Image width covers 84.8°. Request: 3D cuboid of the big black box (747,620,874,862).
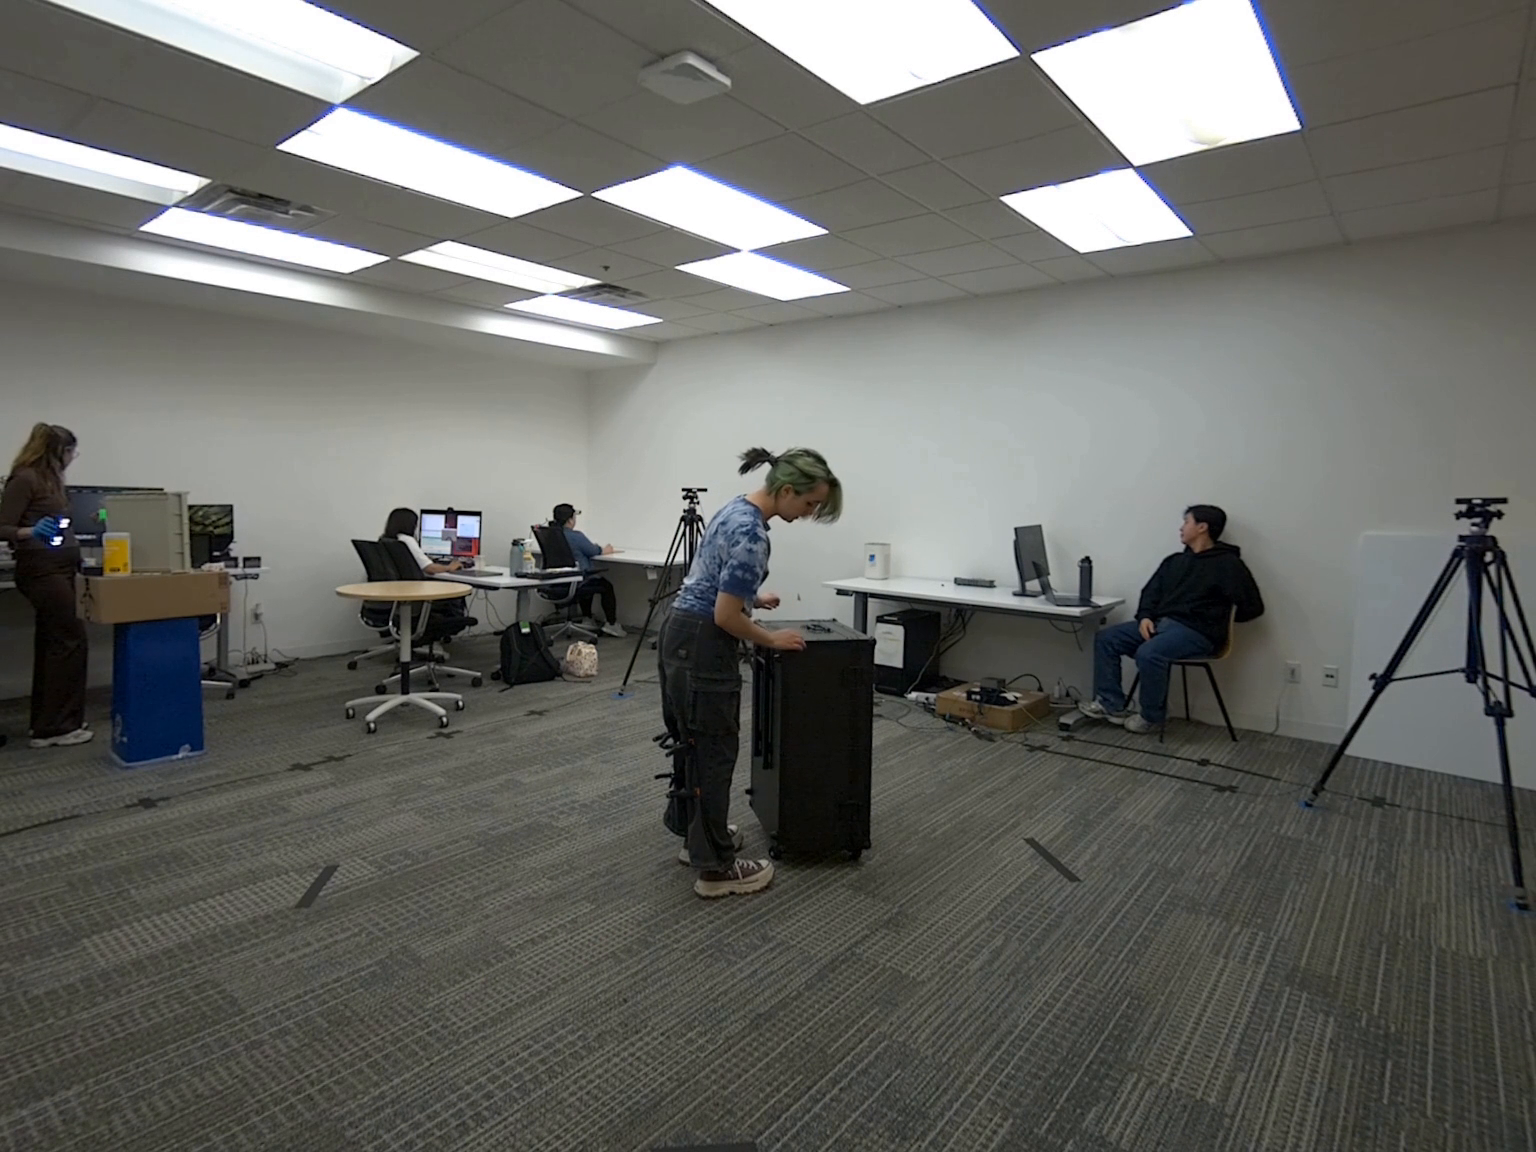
[{"bbox_3d":[0.147,0.634,3.333,0.392,0.858,0.529,0,4,-11],"label":"big black box"}]
